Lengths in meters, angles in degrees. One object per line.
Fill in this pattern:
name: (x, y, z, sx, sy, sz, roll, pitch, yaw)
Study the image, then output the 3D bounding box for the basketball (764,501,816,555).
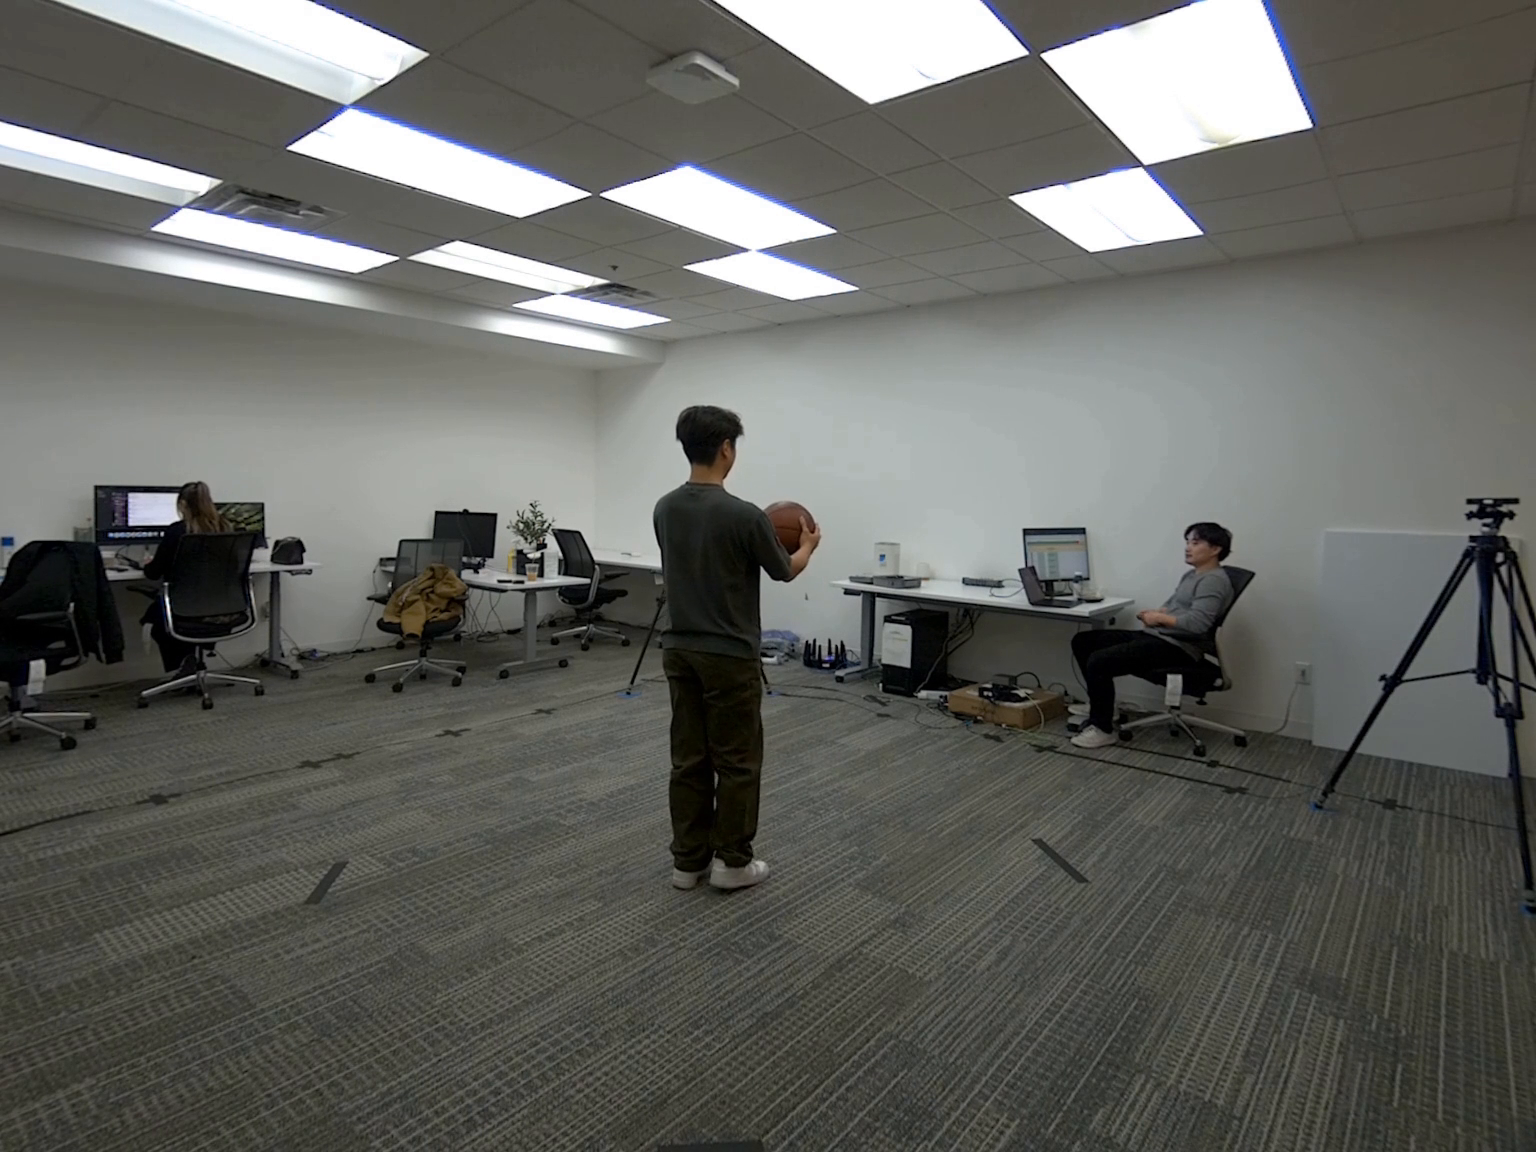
basketball: (0.065, -0.170, 3.304, 0.235, 0.235, 0.237, 1, 4, -2)
